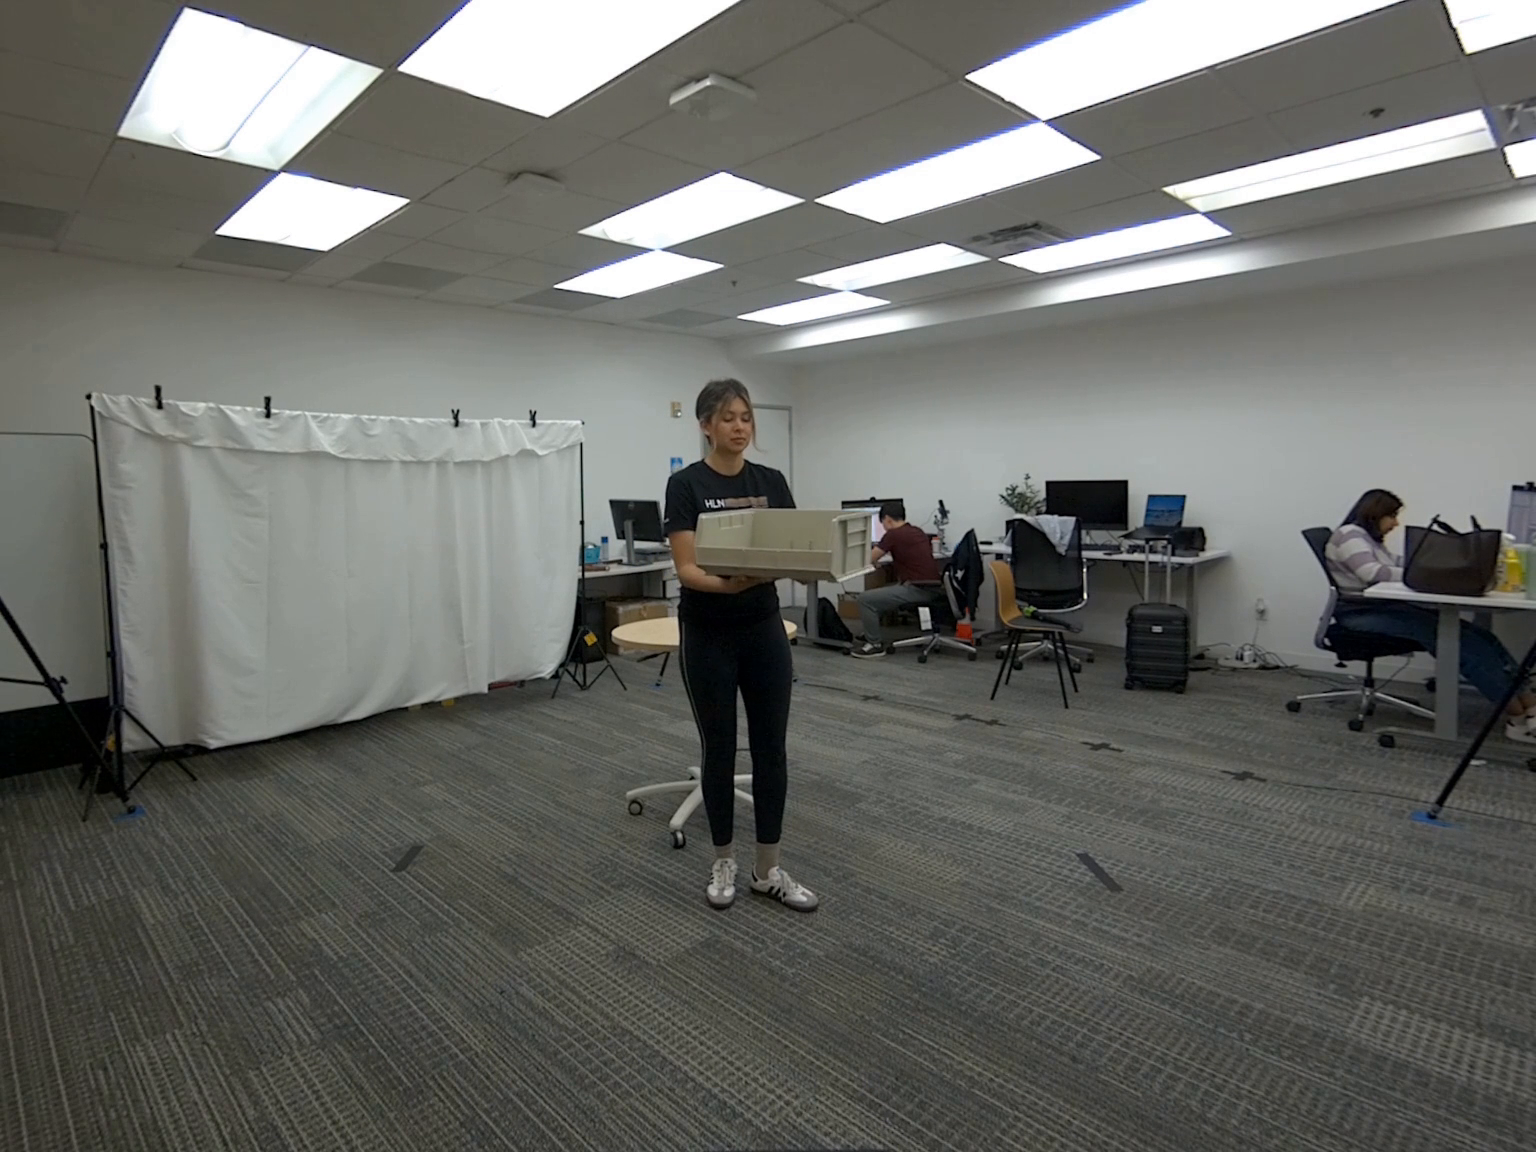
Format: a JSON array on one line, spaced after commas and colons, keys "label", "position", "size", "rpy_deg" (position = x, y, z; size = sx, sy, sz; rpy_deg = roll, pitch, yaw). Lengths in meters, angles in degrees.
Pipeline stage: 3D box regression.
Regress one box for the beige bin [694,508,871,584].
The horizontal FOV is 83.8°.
[{"label": "beige bin", "position": [0.069, -0.093, 2.461], "size": [0.432, 0.188, 0.370], "rpy_deg": [1, 5, 25]}]
